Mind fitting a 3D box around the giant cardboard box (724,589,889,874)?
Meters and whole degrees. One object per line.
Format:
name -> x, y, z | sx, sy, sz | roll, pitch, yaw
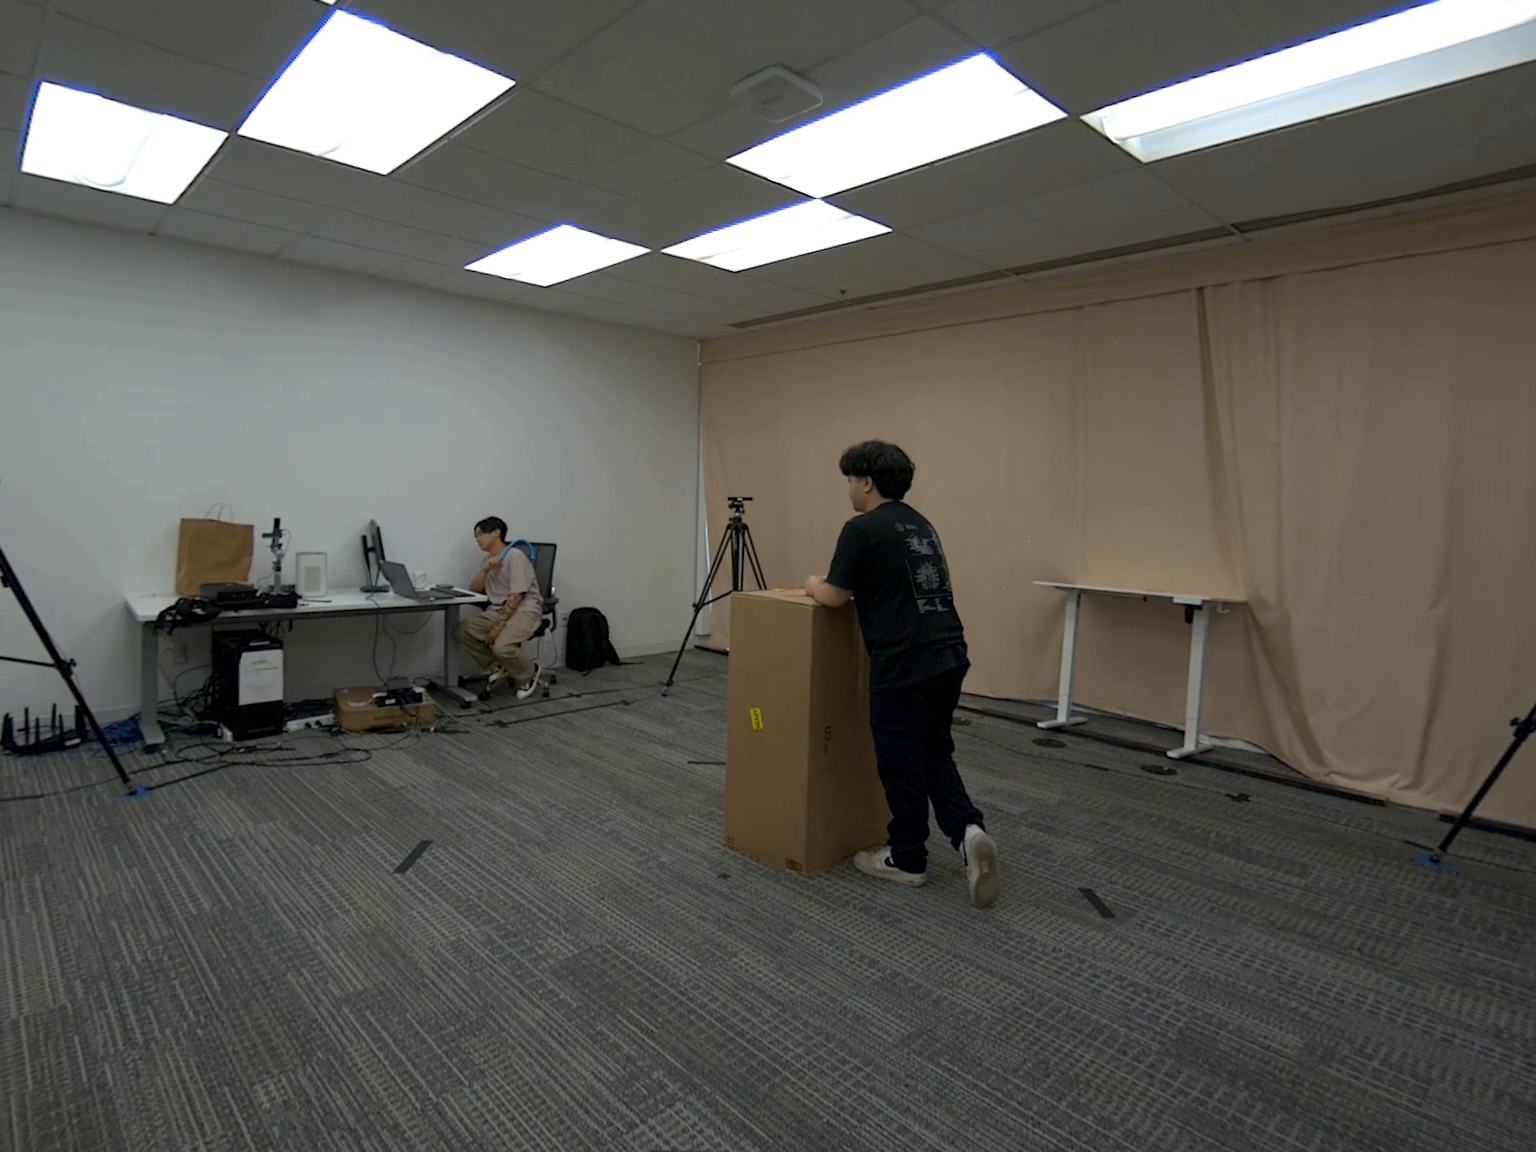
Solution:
giant cardboard box -> 0.172, 0.577, 3.437 | 0.458, 1.025, 0.570 | 4, 3, 44
